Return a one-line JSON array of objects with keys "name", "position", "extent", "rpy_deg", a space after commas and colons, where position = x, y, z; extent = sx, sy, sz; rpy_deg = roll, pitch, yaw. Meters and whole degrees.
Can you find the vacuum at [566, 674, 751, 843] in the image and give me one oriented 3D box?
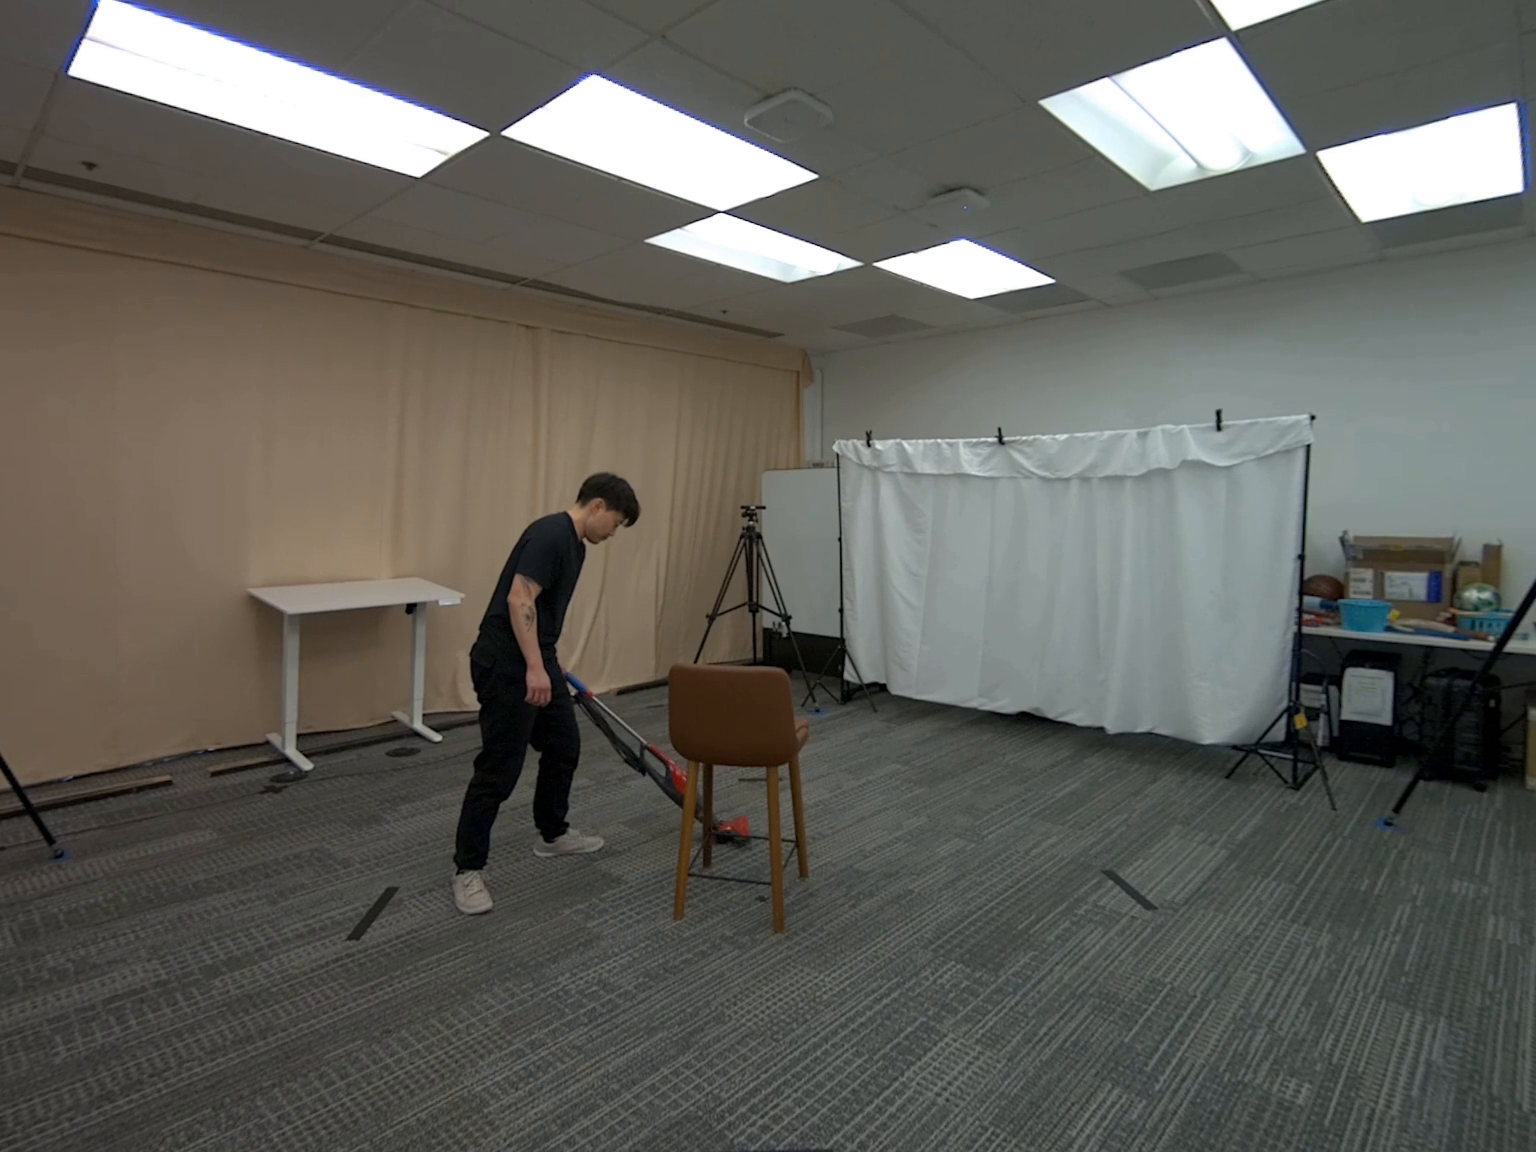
[{"name": "vacuum", "position": [-0.536, 0.733, 3.514], "extent": [1.047, 0.144, 0.253], "rpy_deg": [41, 2, -2]}]
